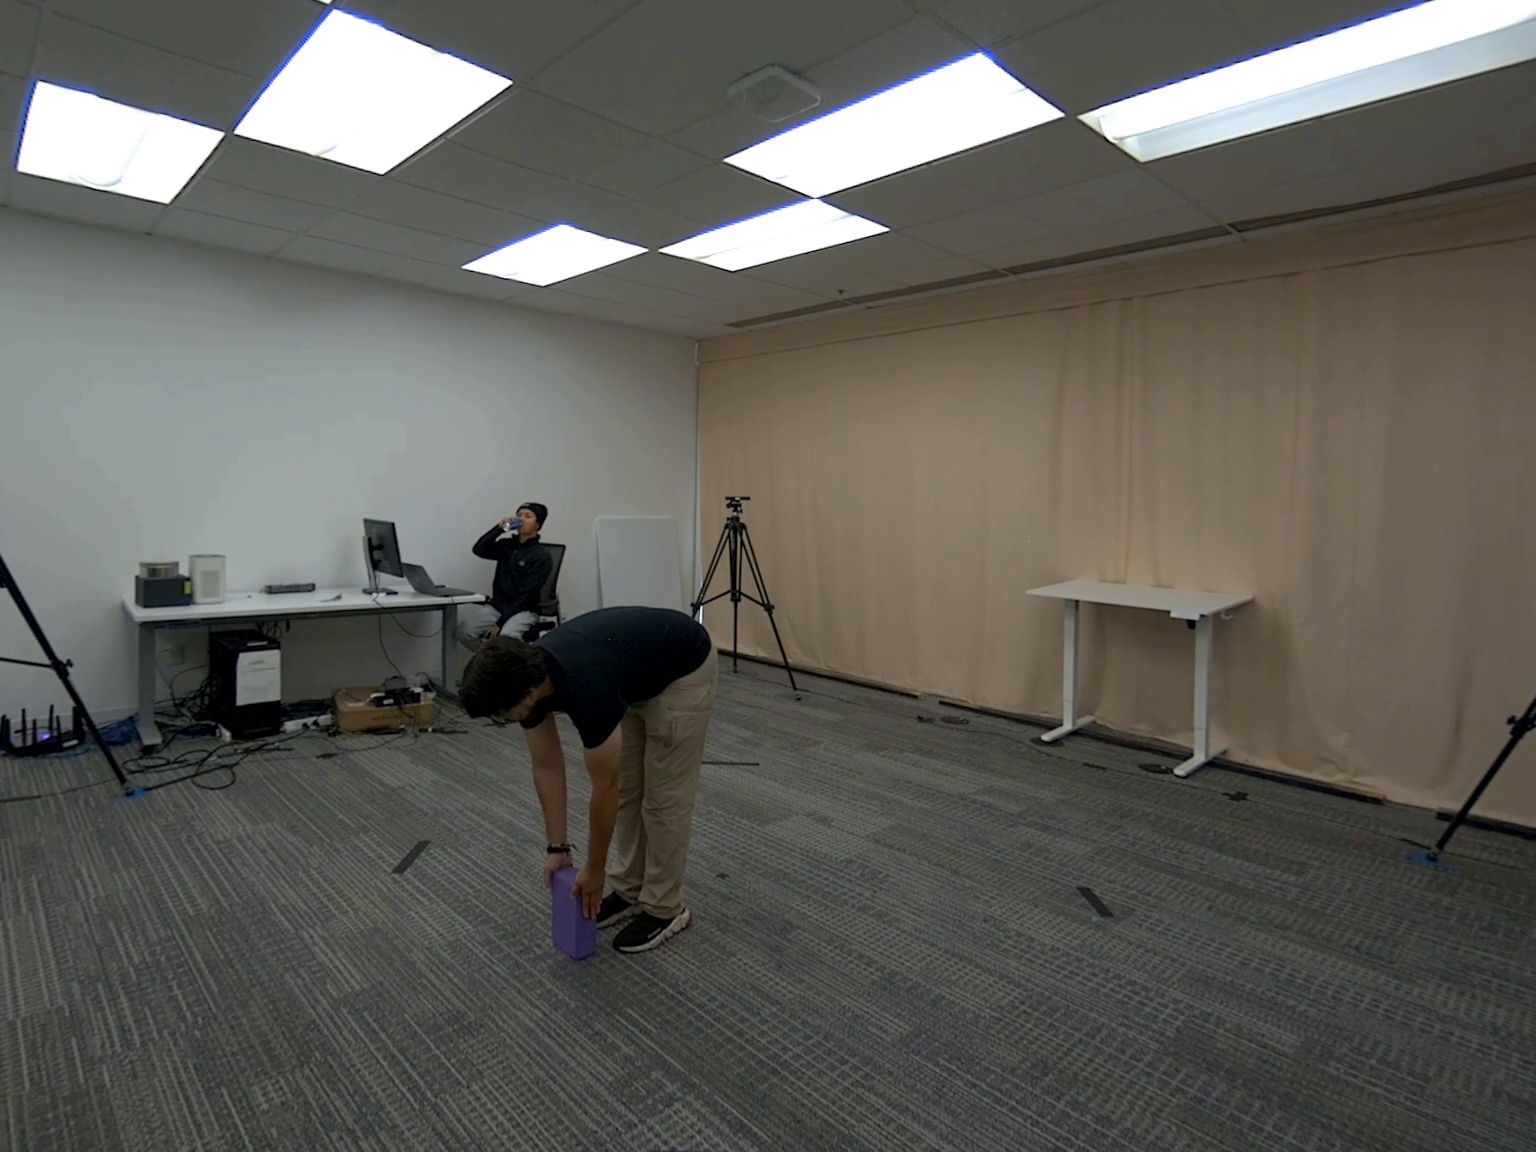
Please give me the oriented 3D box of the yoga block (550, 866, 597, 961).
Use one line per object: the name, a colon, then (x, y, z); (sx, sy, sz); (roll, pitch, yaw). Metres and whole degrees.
yoga block: (-0.593, 1.028, 2.580); (0.075, 0.229, 0.153); (-3, 5, -43)
